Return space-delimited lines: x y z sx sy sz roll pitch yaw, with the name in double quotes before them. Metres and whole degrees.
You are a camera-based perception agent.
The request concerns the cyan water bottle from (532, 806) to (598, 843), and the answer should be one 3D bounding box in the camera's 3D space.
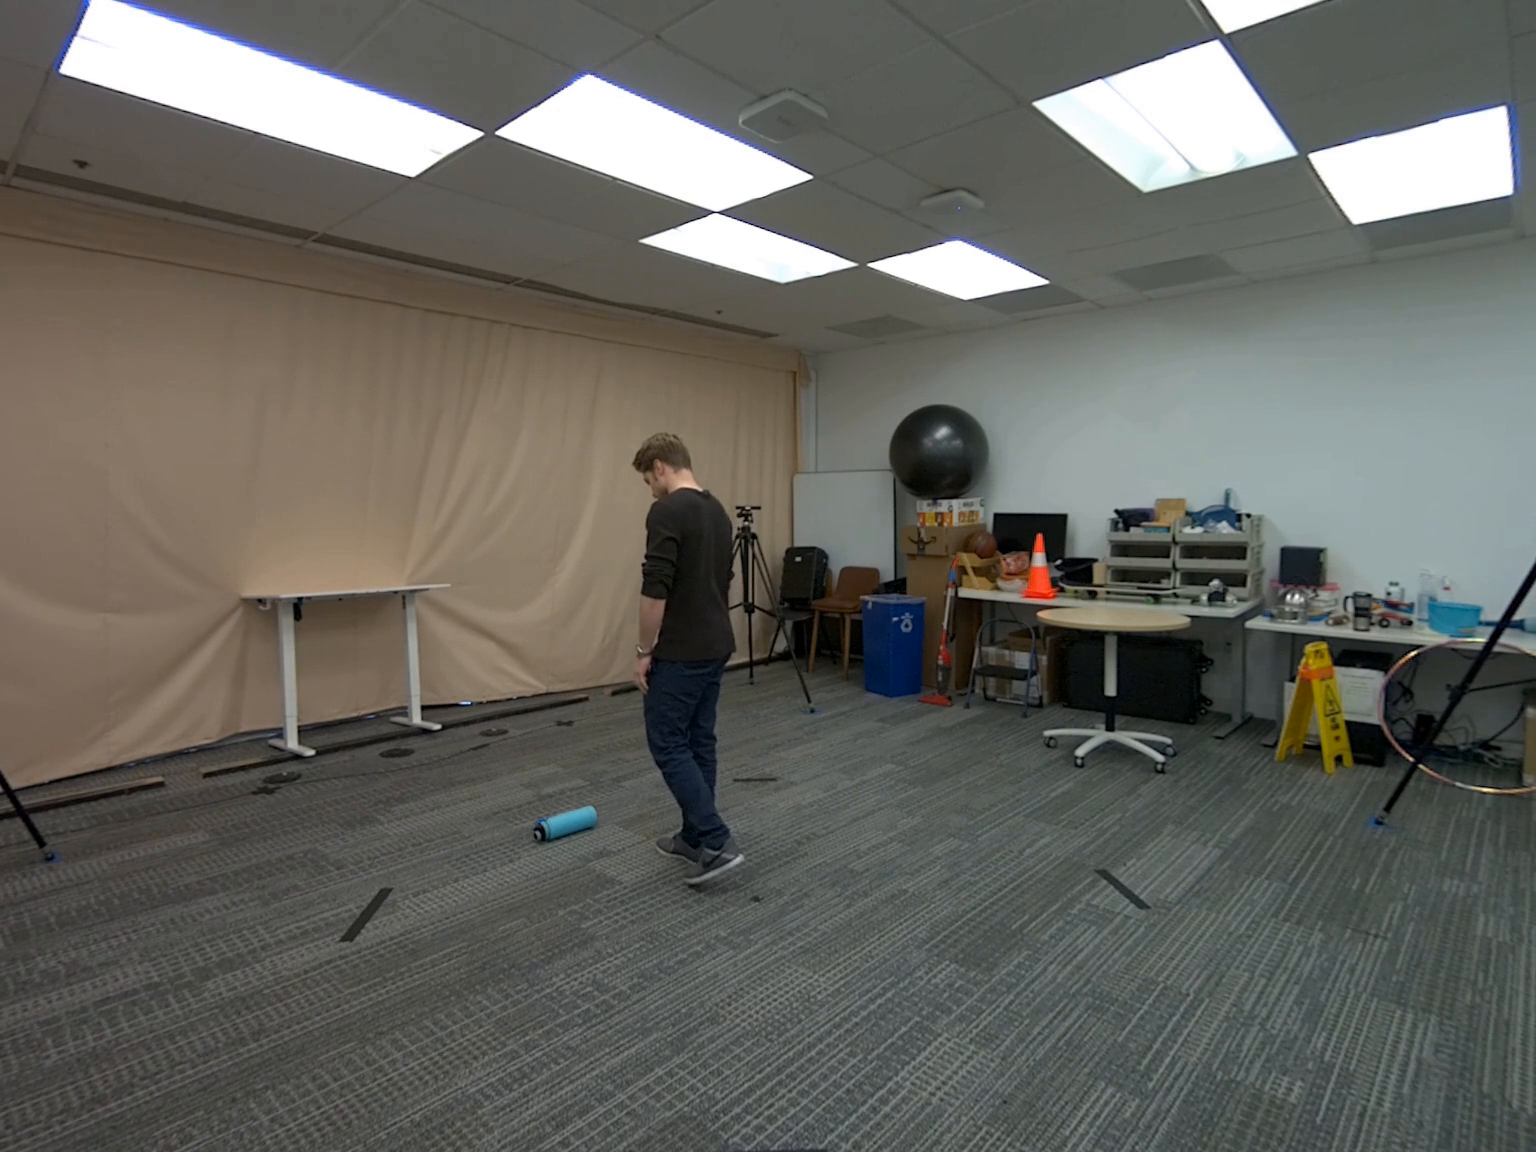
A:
"cyan water bottle" -0.871 1.055 3.590 0.275 0.092 0.095 -5 6 -42
